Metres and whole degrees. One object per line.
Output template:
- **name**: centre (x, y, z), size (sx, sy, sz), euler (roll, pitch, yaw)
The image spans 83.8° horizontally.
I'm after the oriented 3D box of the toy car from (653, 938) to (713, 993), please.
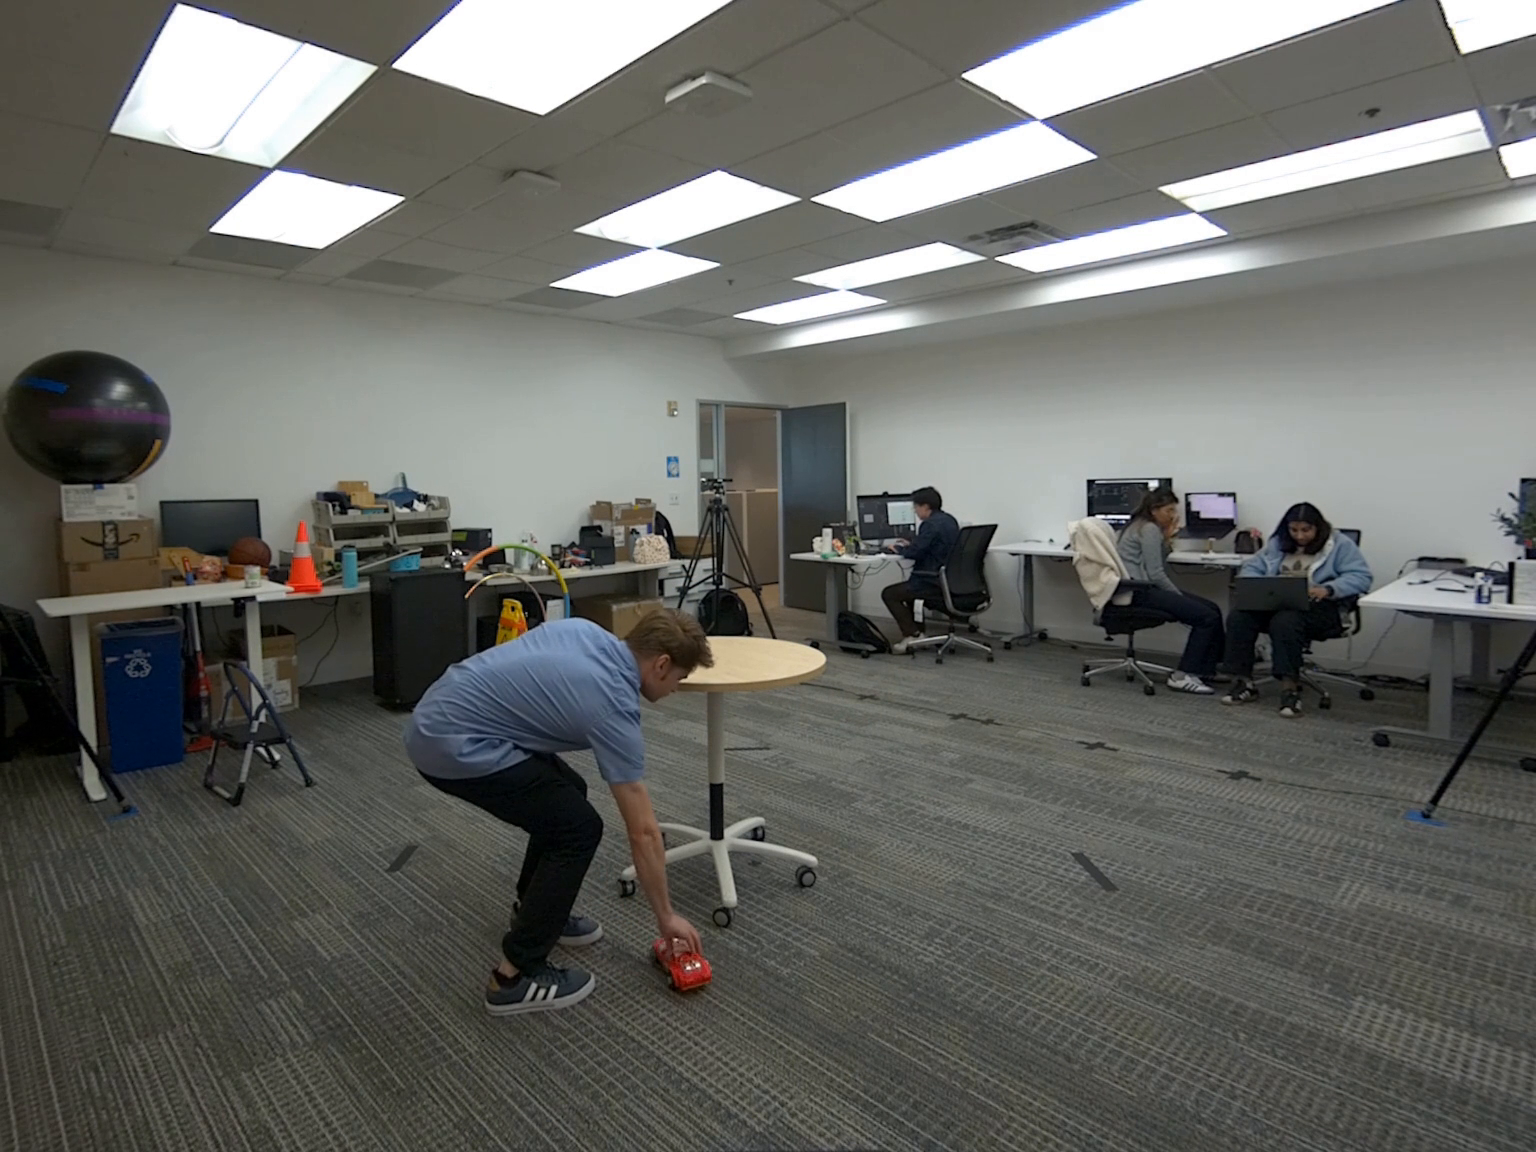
- **toy car**: centre (-0.242, 1.102, 2.409), size (0.128, 0.083, 0.259), euler (-4, -2, -23)
